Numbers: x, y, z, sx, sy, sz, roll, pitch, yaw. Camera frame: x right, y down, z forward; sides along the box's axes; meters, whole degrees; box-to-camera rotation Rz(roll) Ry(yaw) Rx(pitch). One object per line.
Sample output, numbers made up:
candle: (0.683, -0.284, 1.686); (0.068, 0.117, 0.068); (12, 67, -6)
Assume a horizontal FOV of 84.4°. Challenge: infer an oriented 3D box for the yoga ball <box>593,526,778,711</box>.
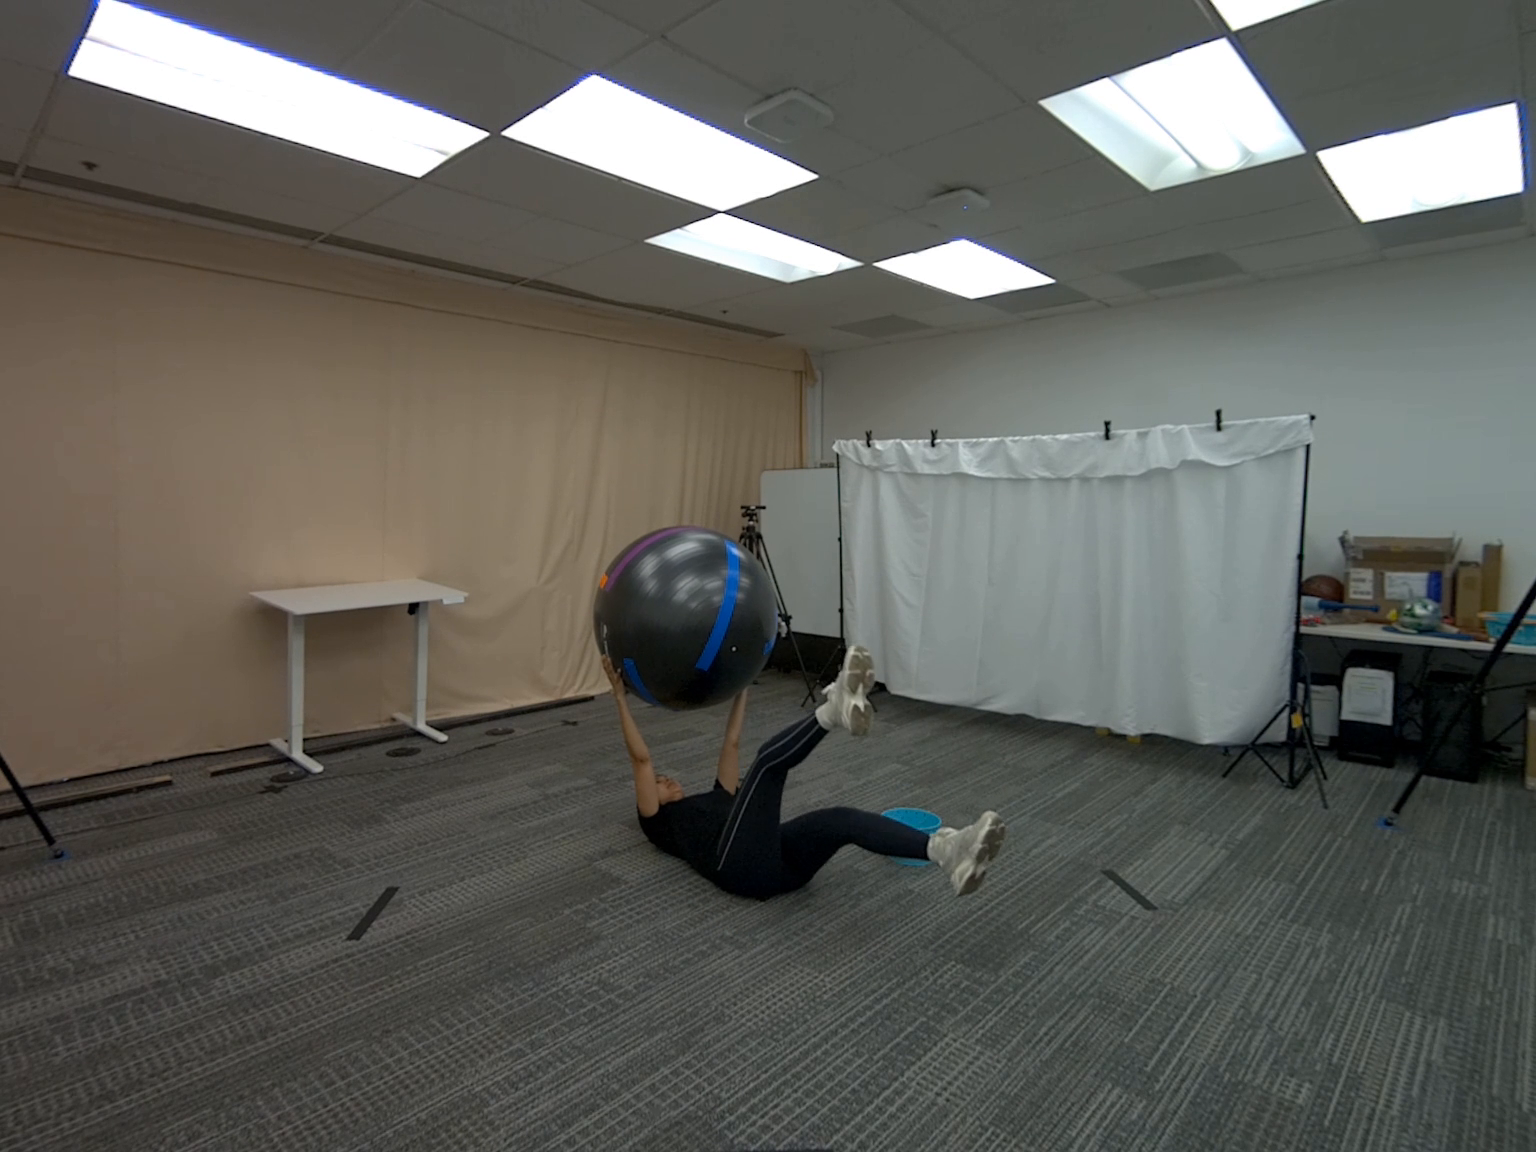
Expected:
yoga ball: (-0.336, 0.174, 3.473); (0.757, 0.756, 0.761); (3, 5, -2)
